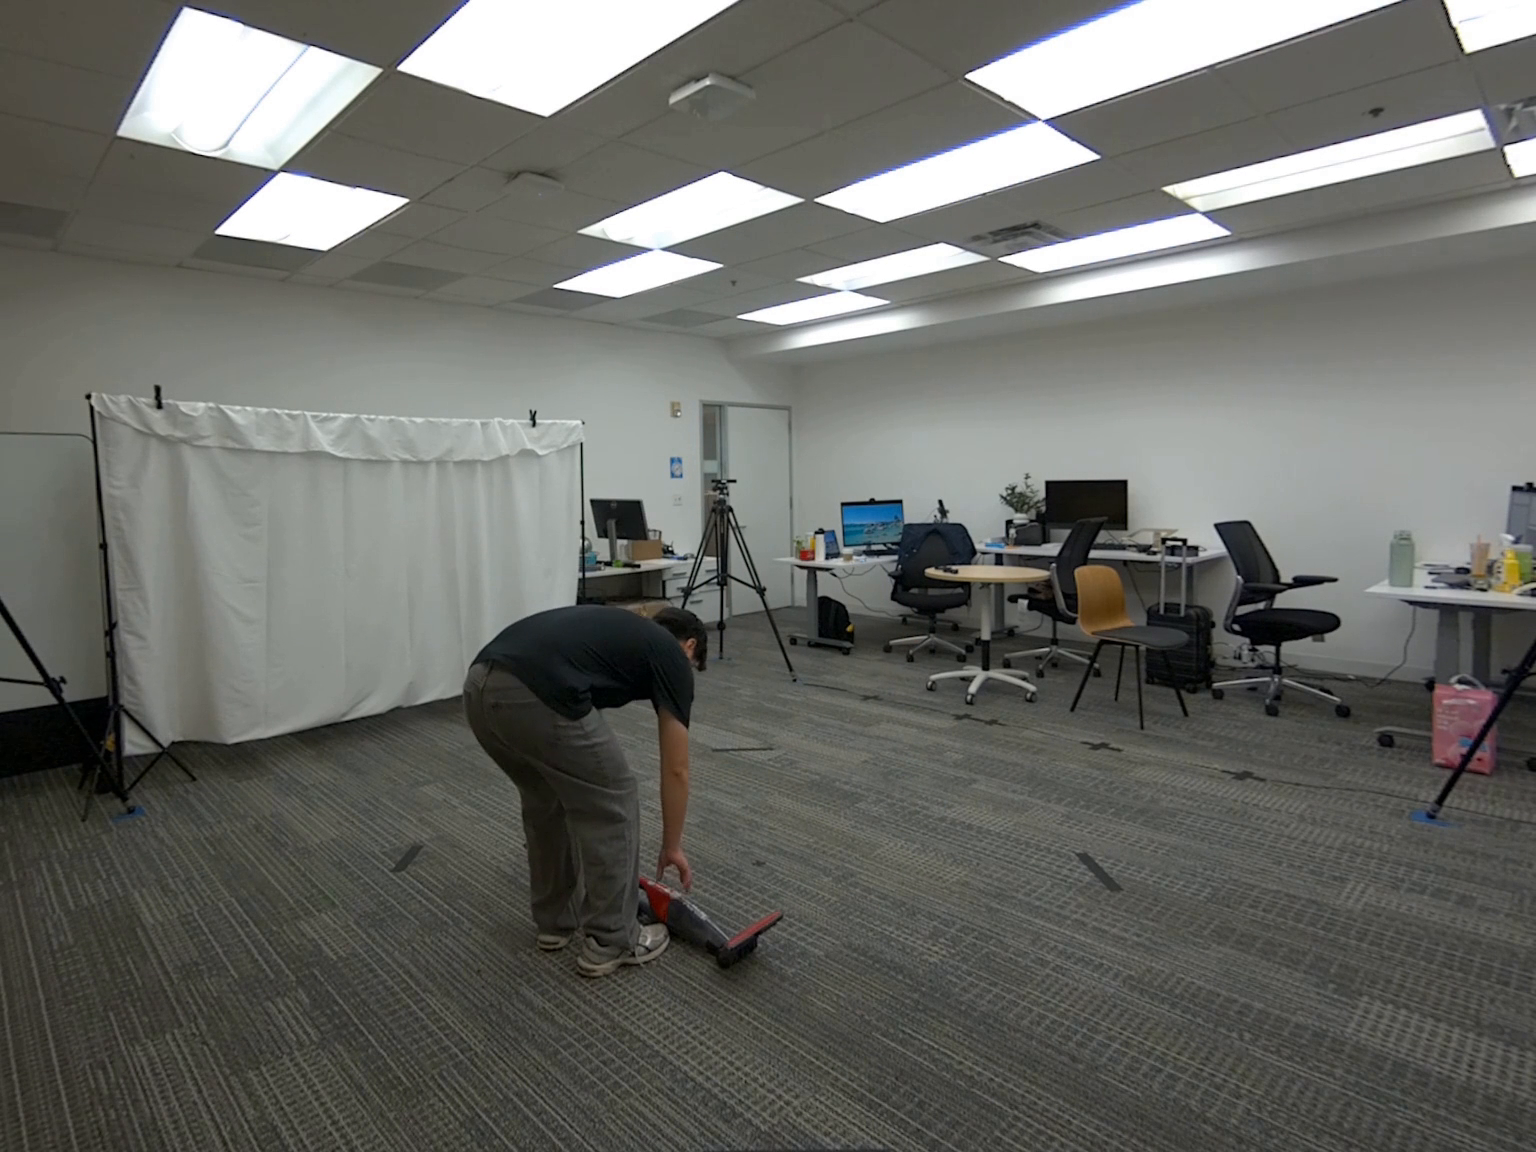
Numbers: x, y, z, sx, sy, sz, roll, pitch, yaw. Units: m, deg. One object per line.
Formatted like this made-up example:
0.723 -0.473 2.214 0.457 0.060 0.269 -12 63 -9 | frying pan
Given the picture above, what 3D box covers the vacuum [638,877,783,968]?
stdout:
-0.461 1.030 2.804 1.081 0.143 0.247 4 11 40 | vacuum
